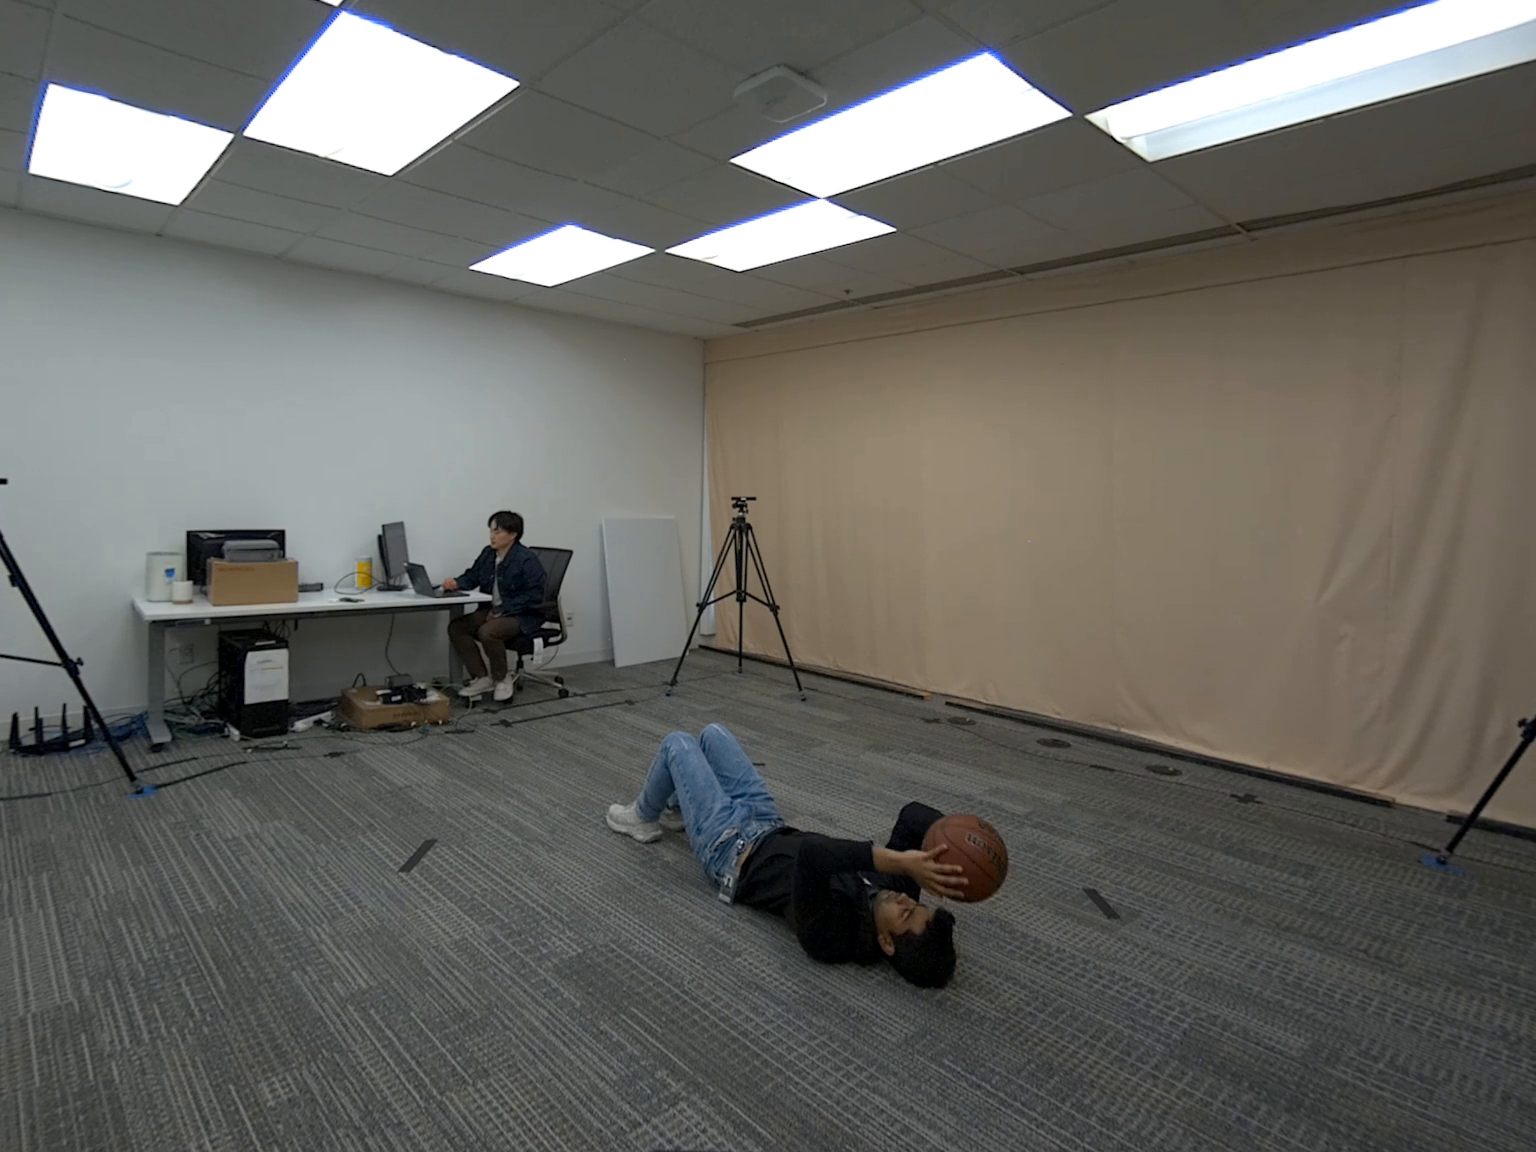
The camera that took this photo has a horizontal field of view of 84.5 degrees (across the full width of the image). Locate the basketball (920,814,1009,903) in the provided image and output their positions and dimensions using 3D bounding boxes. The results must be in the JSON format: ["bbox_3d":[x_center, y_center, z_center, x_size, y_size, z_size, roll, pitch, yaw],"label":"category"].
[{"bbox_3d":[0.545,0.799,2.397,0.236,0.235,0.237,1,4,-1],"label":"basketball"}]
